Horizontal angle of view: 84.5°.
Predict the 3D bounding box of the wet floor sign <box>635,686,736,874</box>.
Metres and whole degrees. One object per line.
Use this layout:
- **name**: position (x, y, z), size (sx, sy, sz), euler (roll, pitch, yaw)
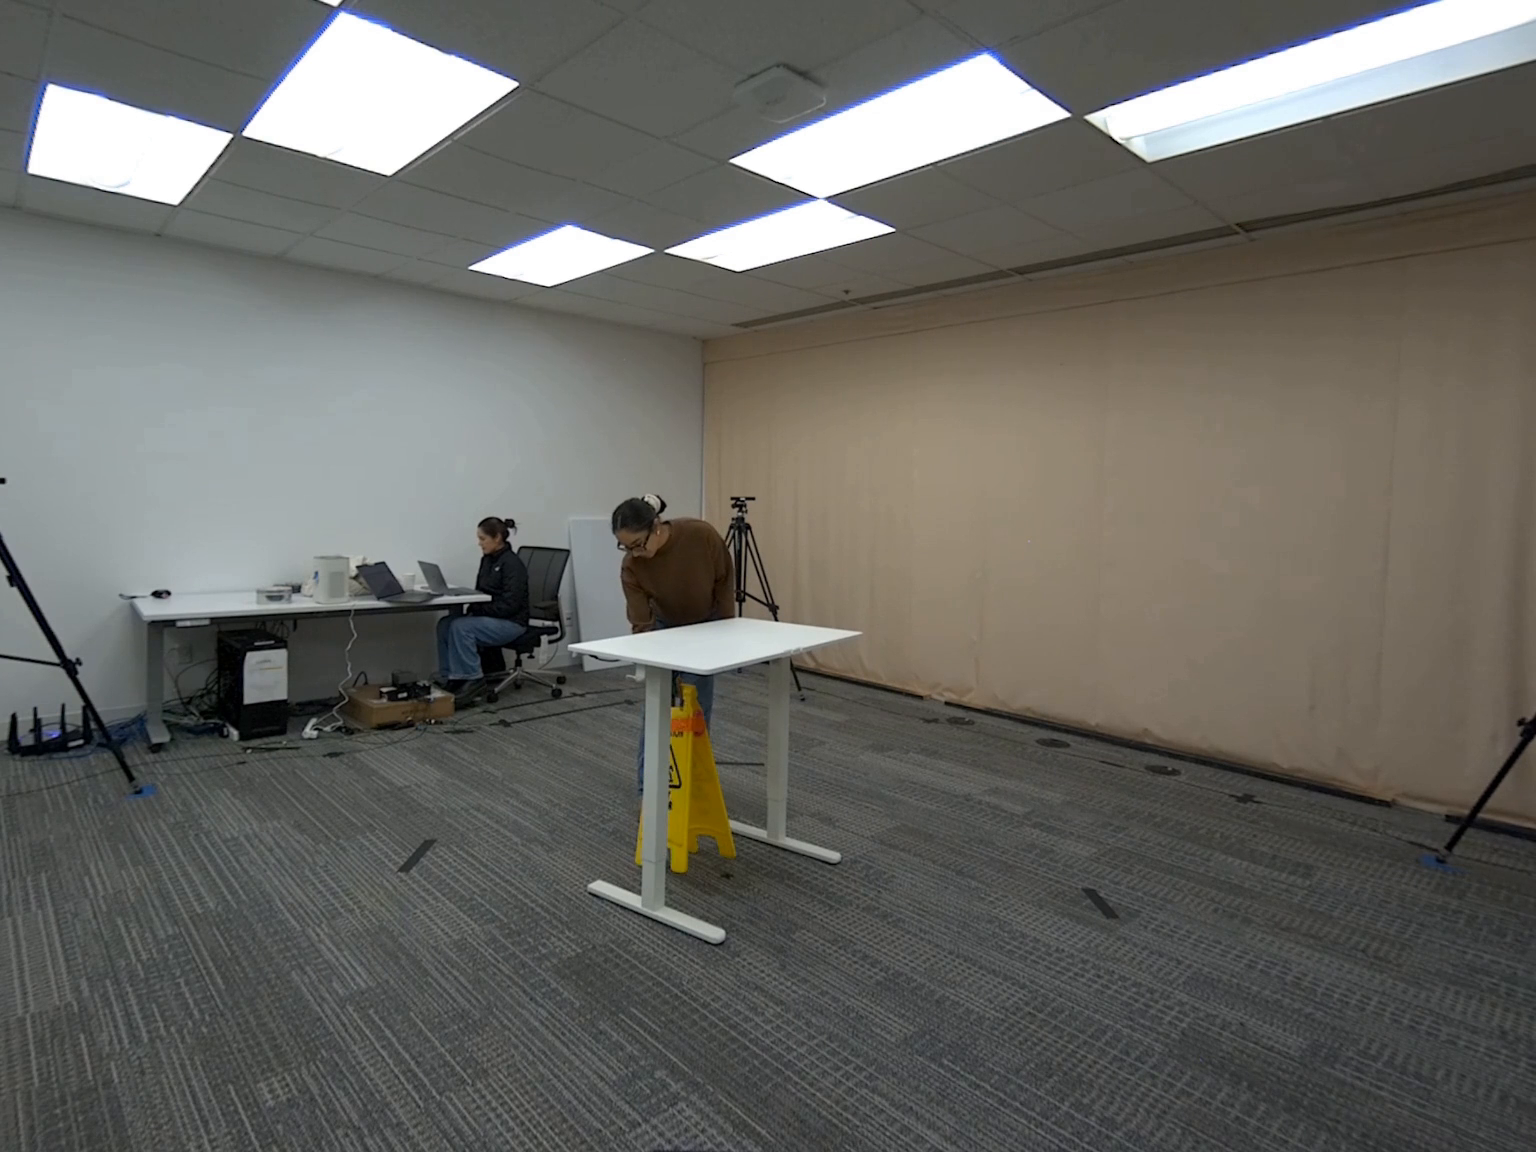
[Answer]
- **wet floor sign**: position (-0.342, 0.739, 3.184), size (0.287, 0.650, 0.282), euler (-11, -10, 41)
